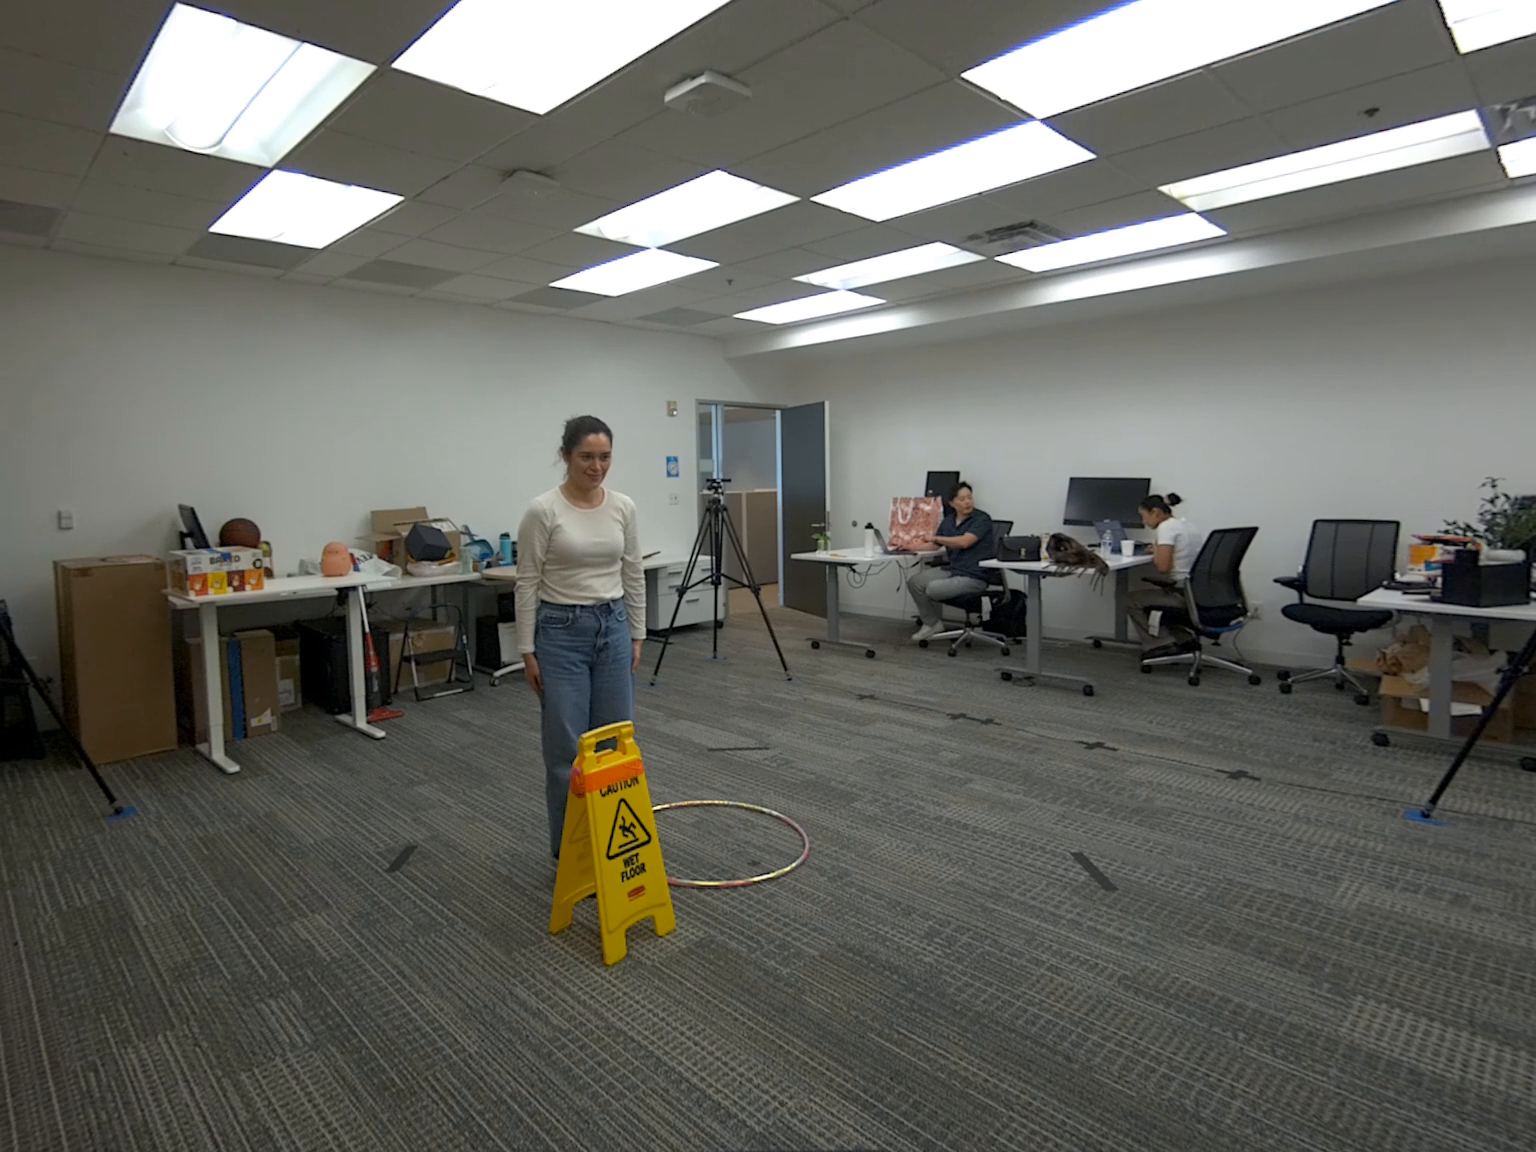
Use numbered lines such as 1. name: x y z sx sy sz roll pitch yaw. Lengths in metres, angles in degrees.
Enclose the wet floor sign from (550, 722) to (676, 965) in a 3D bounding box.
1. wet floor sign: -0.483 0.780 2.643 0.298 0.643 0.275 3 6 42
